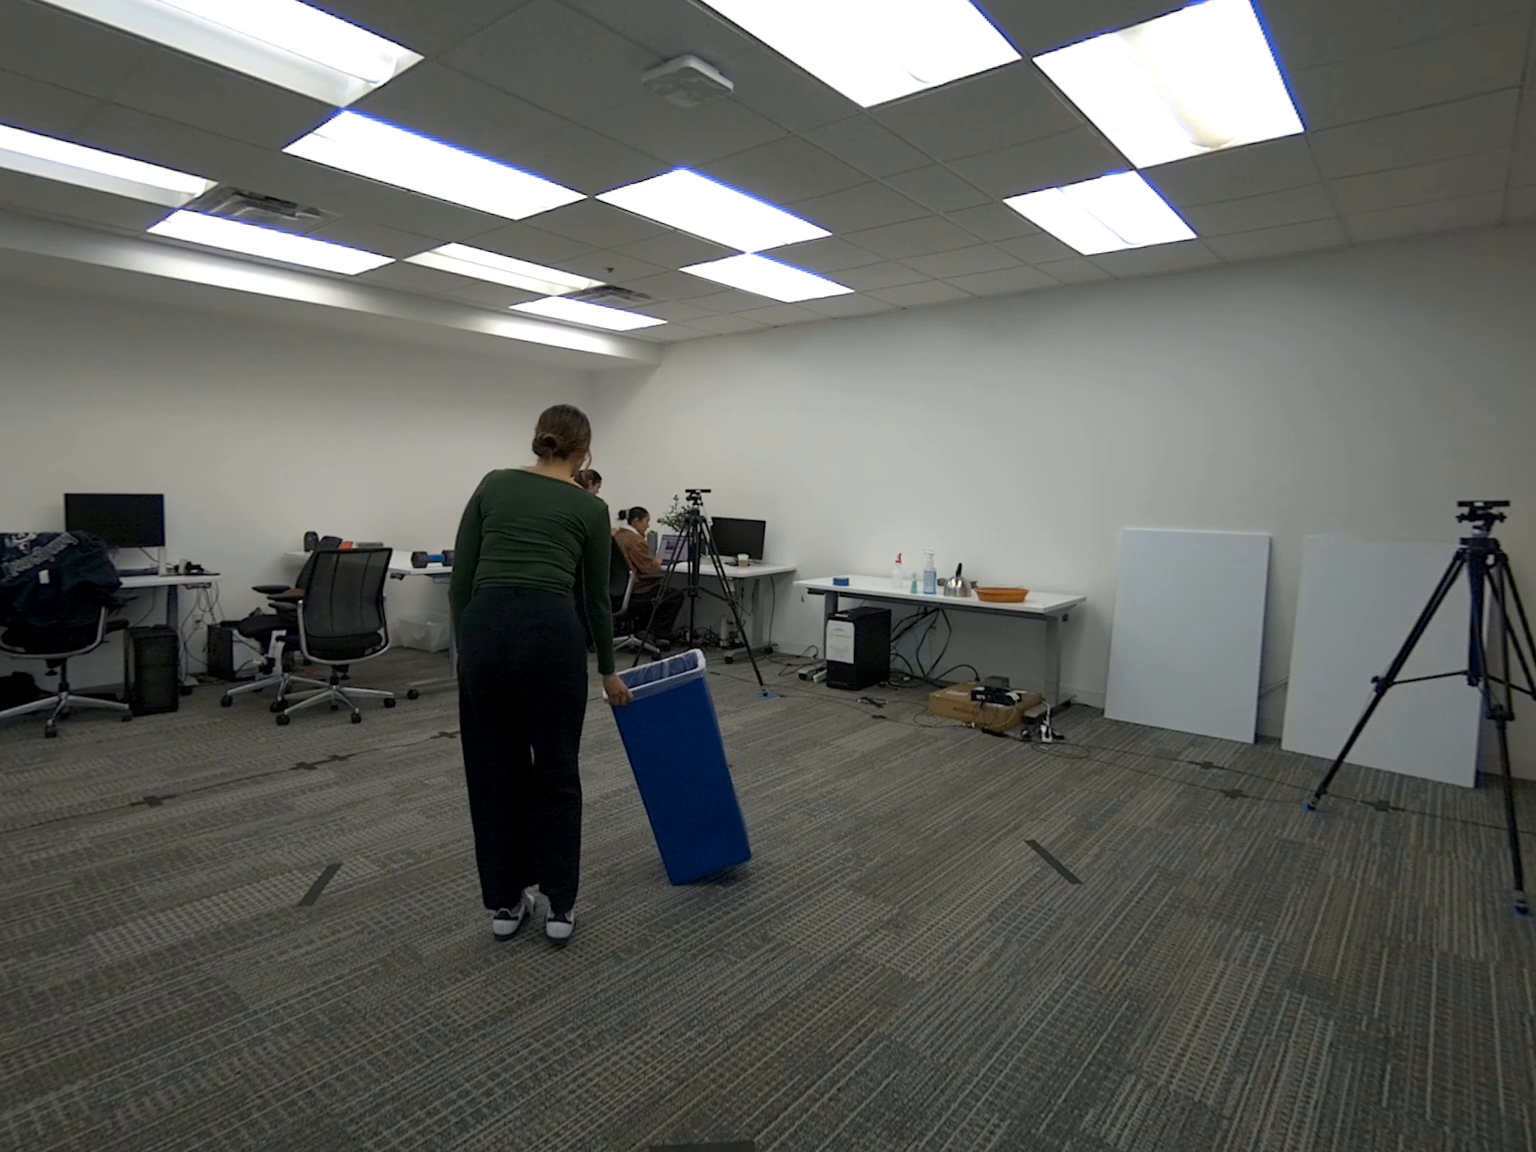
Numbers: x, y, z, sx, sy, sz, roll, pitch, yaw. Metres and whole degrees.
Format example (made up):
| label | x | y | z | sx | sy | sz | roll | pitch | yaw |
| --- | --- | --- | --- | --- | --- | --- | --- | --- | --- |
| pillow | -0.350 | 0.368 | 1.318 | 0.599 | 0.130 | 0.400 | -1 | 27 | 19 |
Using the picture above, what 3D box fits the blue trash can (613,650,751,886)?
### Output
| label | x | y | z | sx | sy | sz | roll | pitch | yaw |
| --- | --- | --- | --- | --- | --- | --- | --- | --- | --- |
| blue trash can | -0.319 | 0.688 | 3.114 | 0.373 | 0.710 | 0.381 | -17 | 4 | -5 |
